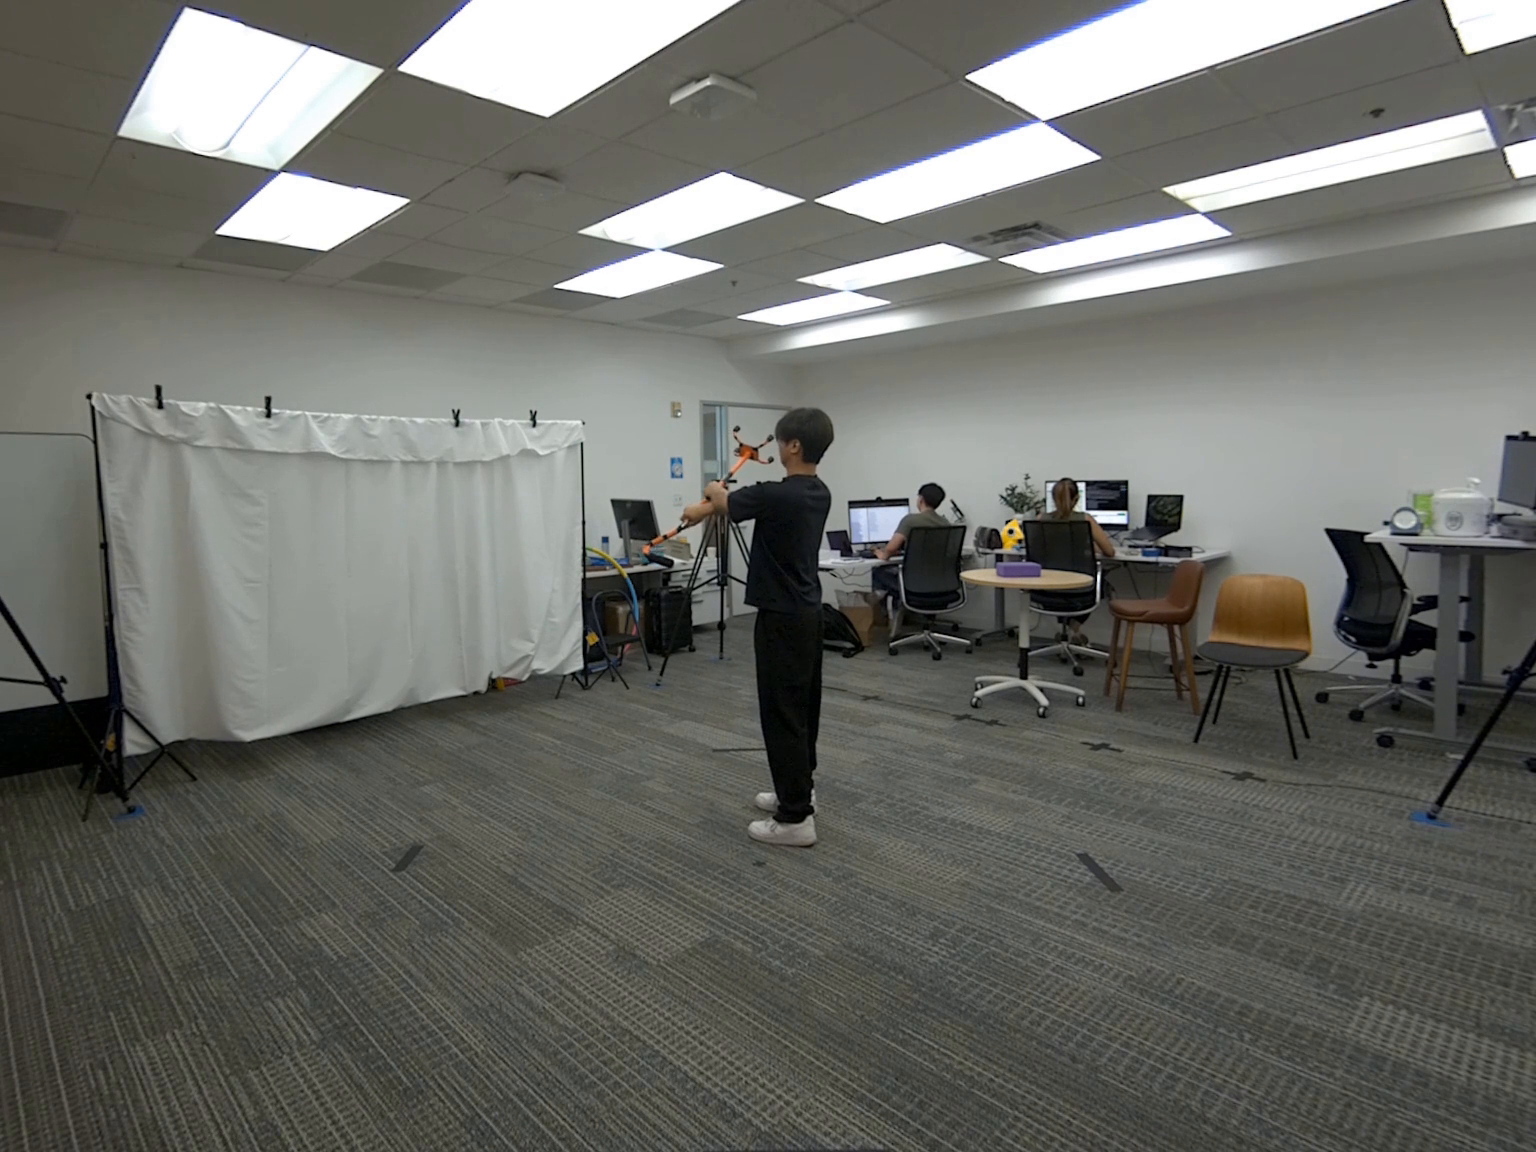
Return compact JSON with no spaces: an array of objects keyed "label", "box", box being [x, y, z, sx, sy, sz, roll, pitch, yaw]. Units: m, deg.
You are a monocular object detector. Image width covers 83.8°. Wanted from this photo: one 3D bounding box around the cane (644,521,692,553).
[{"label":"cane","box":[-0.254,-0.352,3.703,0.212,0.147,0.910,18,45,21]}]
